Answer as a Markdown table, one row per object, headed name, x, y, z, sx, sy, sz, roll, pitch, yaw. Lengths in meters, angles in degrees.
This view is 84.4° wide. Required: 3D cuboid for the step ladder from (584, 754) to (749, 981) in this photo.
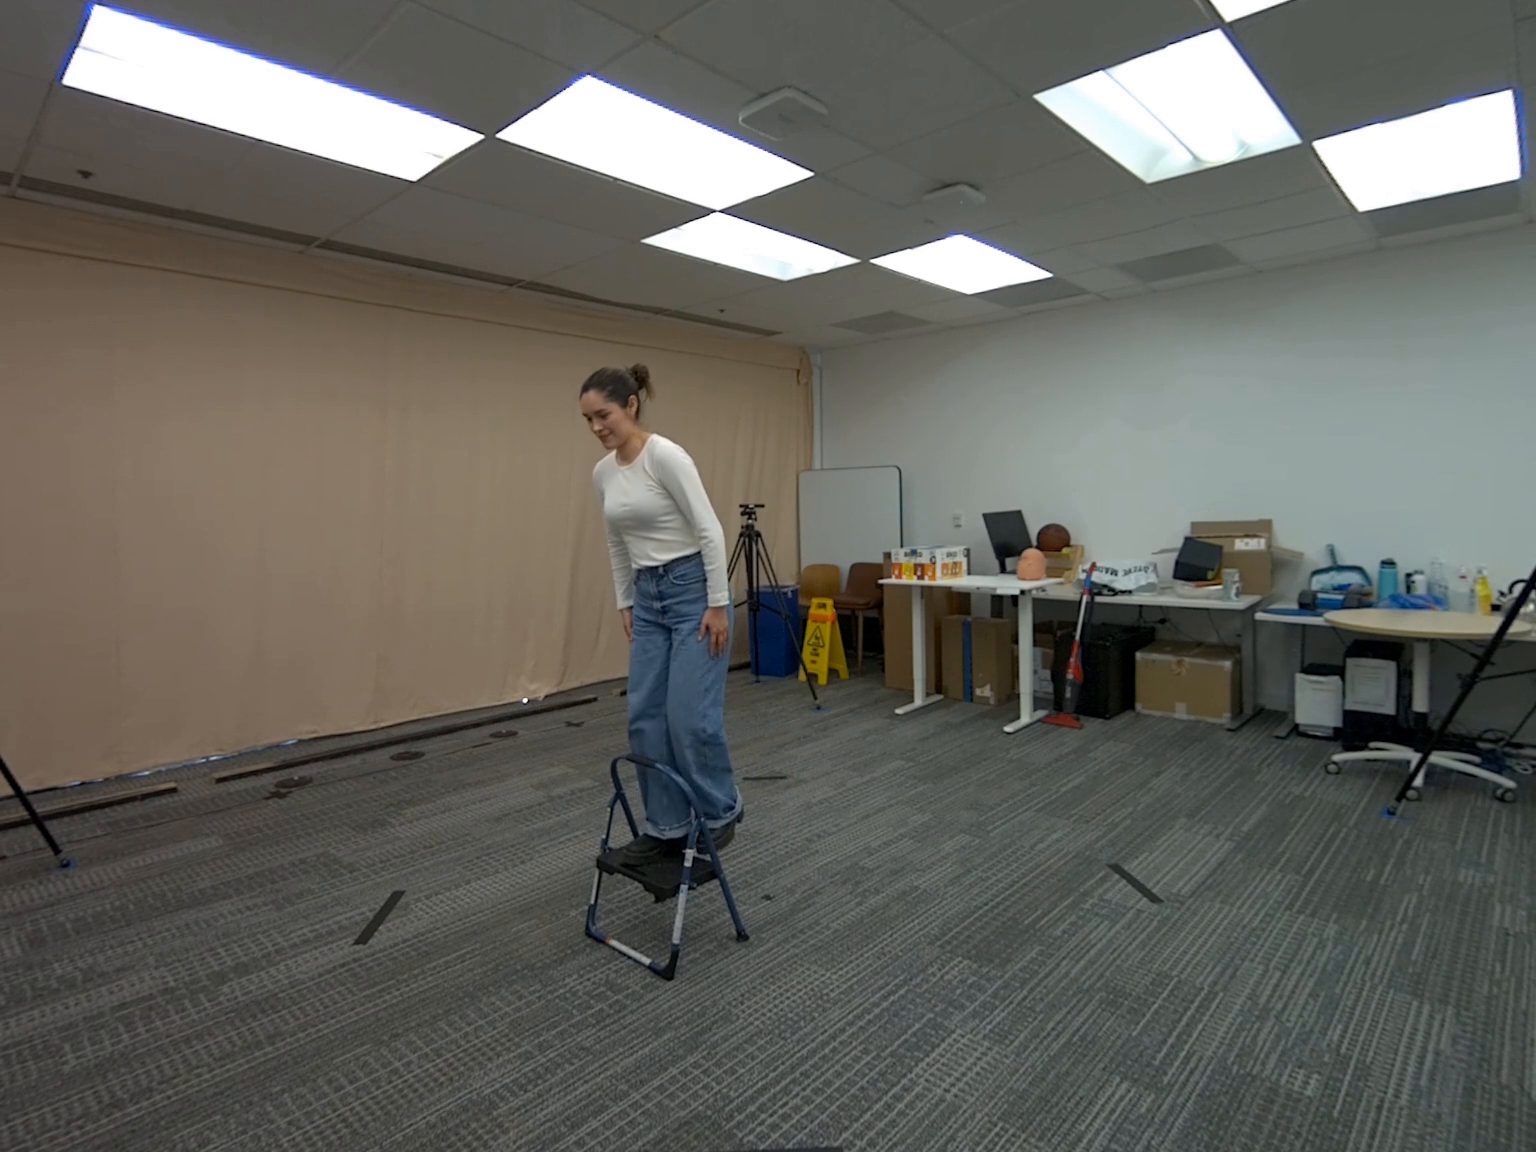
| name | x | y | z | sx | sy | sz | roll | pitch | yaw |
| --- | --- | --- | --- | --- | --- | --- | --- | --- | --- |
| step ladder | -0.336 | 0.866 | 2.714 | 0.445 | 0.605 | 0.339 | 2 | 4 | 42 |
